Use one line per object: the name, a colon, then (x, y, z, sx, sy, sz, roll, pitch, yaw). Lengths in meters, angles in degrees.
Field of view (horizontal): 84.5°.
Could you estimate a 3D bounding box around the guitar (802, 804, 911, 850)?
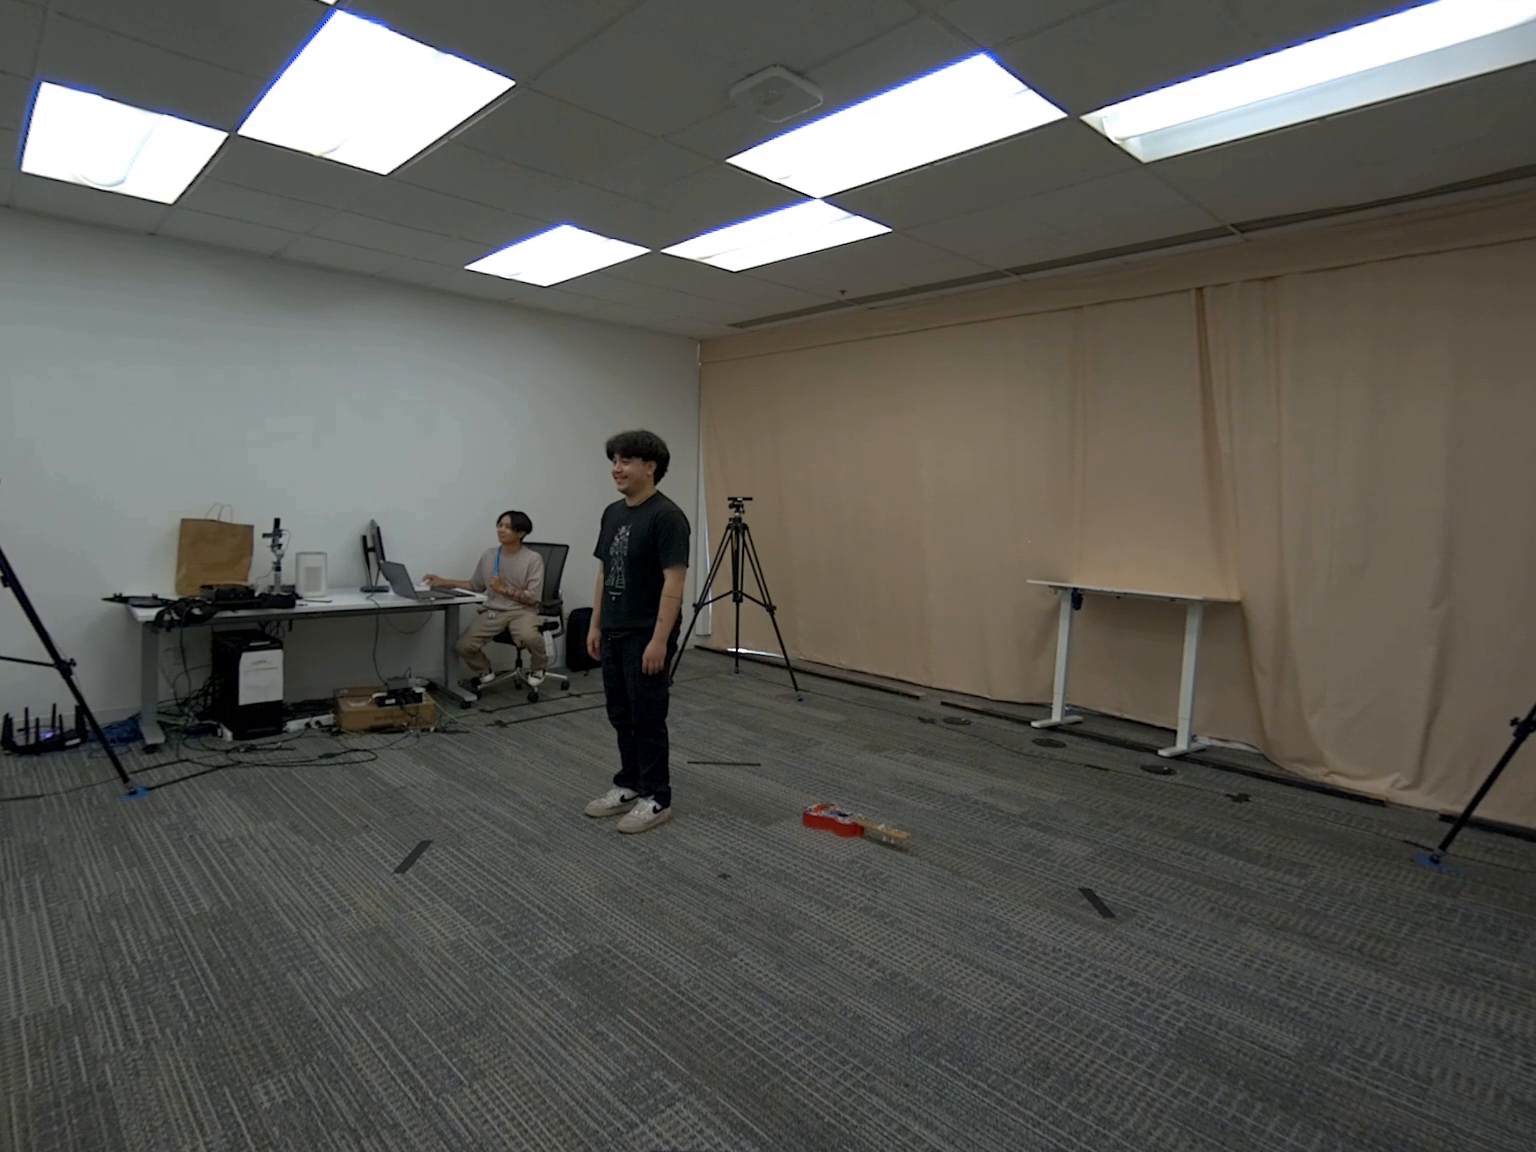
guitar: (0.336, 1.048, 3.524, 0.188, 0.070, 0.510, -1, 5, -38)
